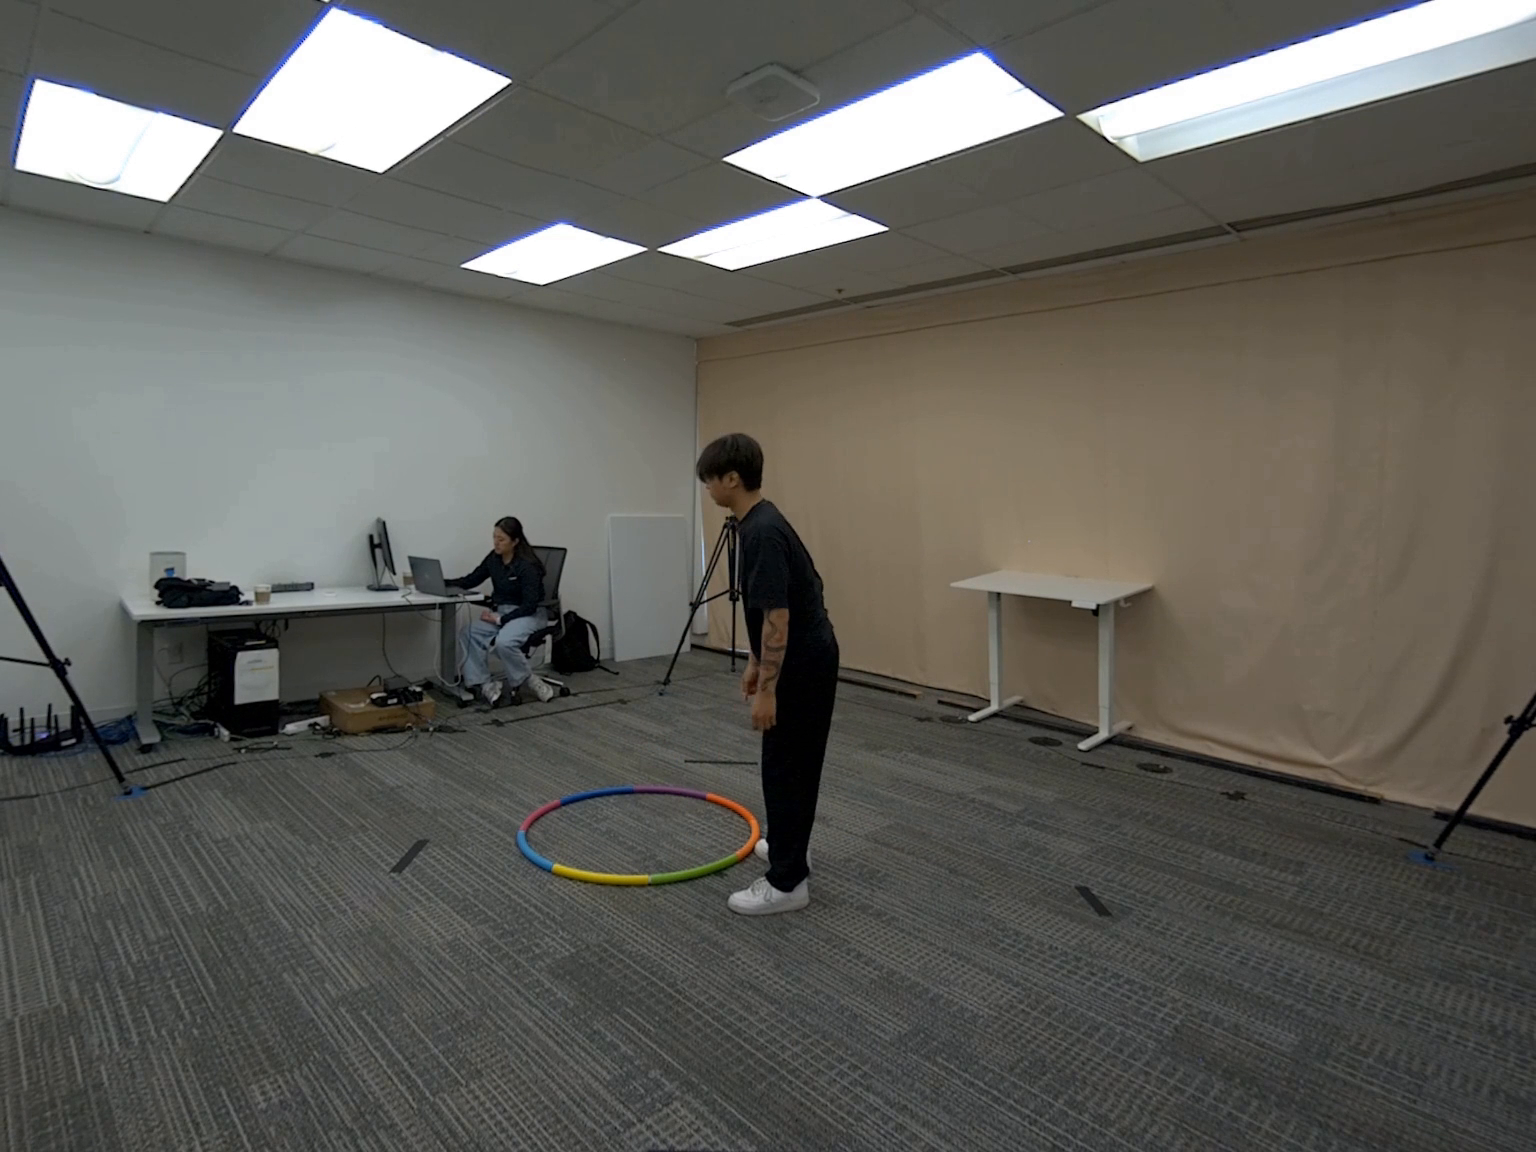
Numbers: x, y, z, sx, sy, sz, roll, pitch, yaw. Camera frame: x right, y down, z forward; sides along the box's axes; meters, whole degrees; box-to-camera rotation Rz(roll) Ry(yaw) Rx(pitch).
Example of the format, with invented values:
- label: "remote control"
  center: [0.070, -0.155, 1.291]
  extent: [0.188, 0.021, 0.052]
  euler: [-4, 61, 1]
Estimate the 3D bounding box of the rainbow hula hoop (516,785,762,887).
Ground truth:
- label: "rainbow hula hoop"
  center: [-0.530, 1.036, 3.479]
  extent: [0.978, 0.035, 0.982]
  euler: [2, 5, -1]
